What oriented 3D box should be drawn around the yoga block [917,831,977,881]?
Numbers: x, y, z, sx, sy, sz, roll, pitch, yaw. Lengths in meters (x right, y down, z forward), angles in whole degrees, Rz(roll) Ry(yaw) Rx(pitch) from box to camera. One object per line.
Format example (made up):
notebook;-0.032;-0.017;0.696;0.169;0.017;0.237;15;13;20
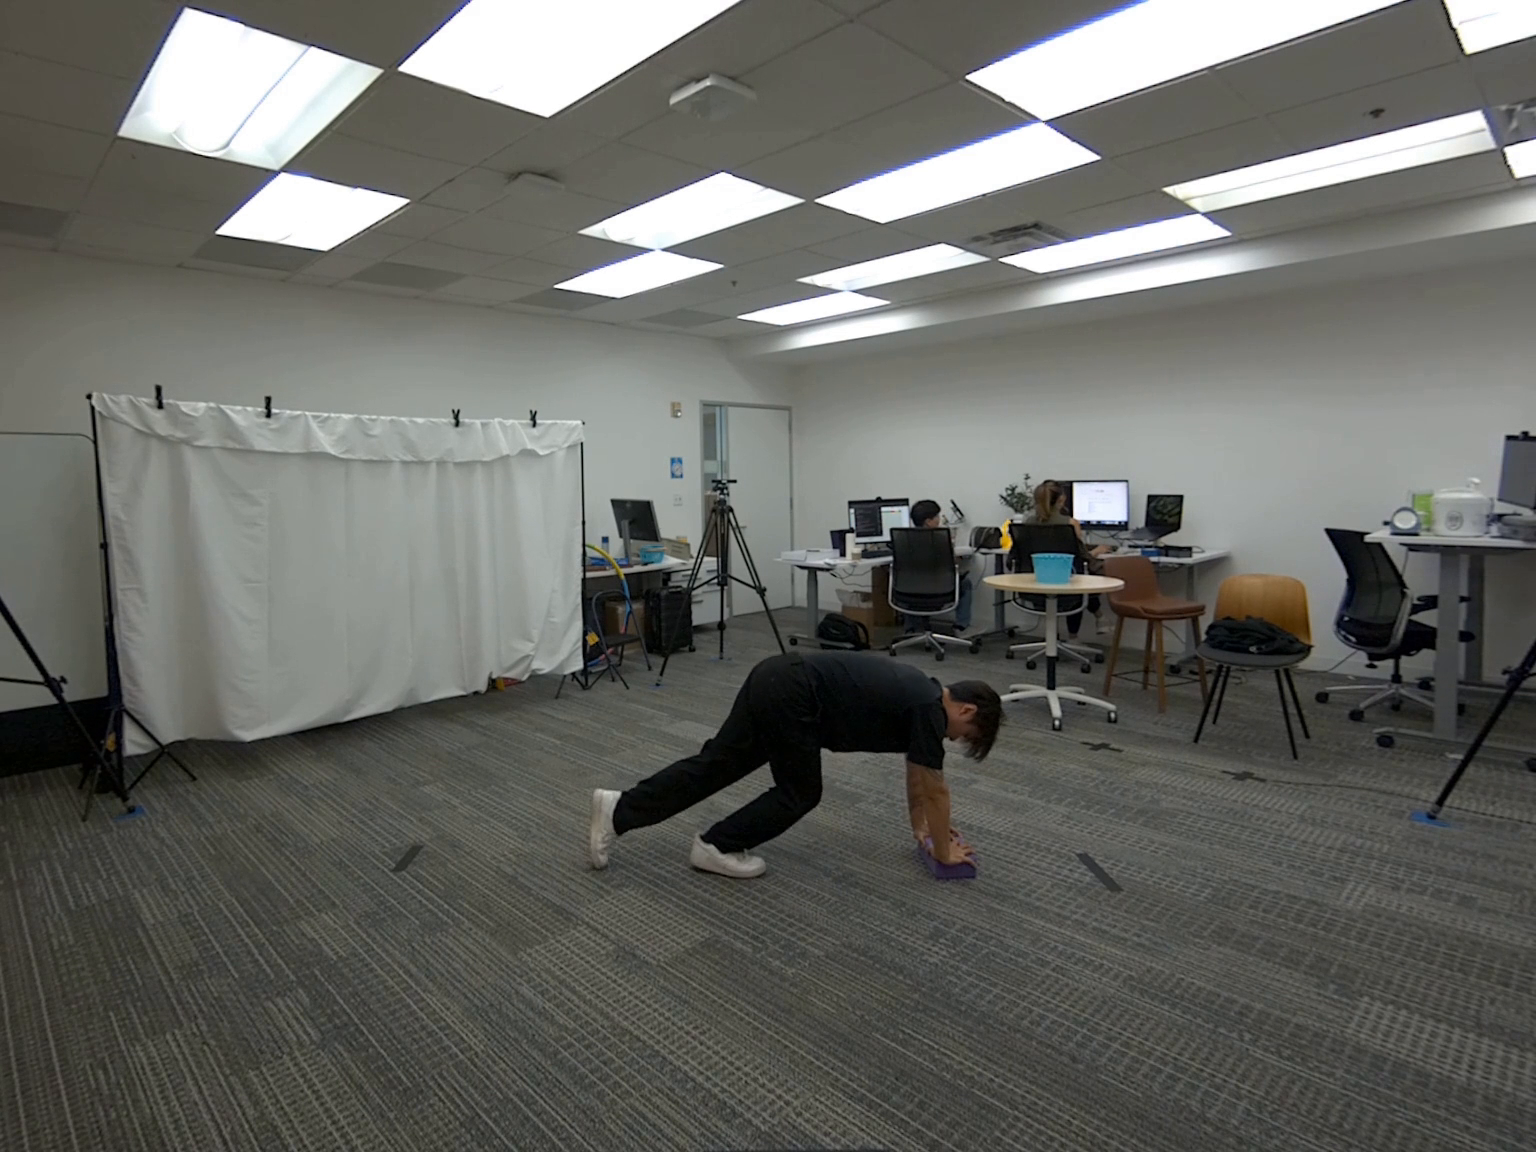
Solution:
yoga block;0.641;0.996;3.062;0.148;0.076;0.231;0;4;-6
